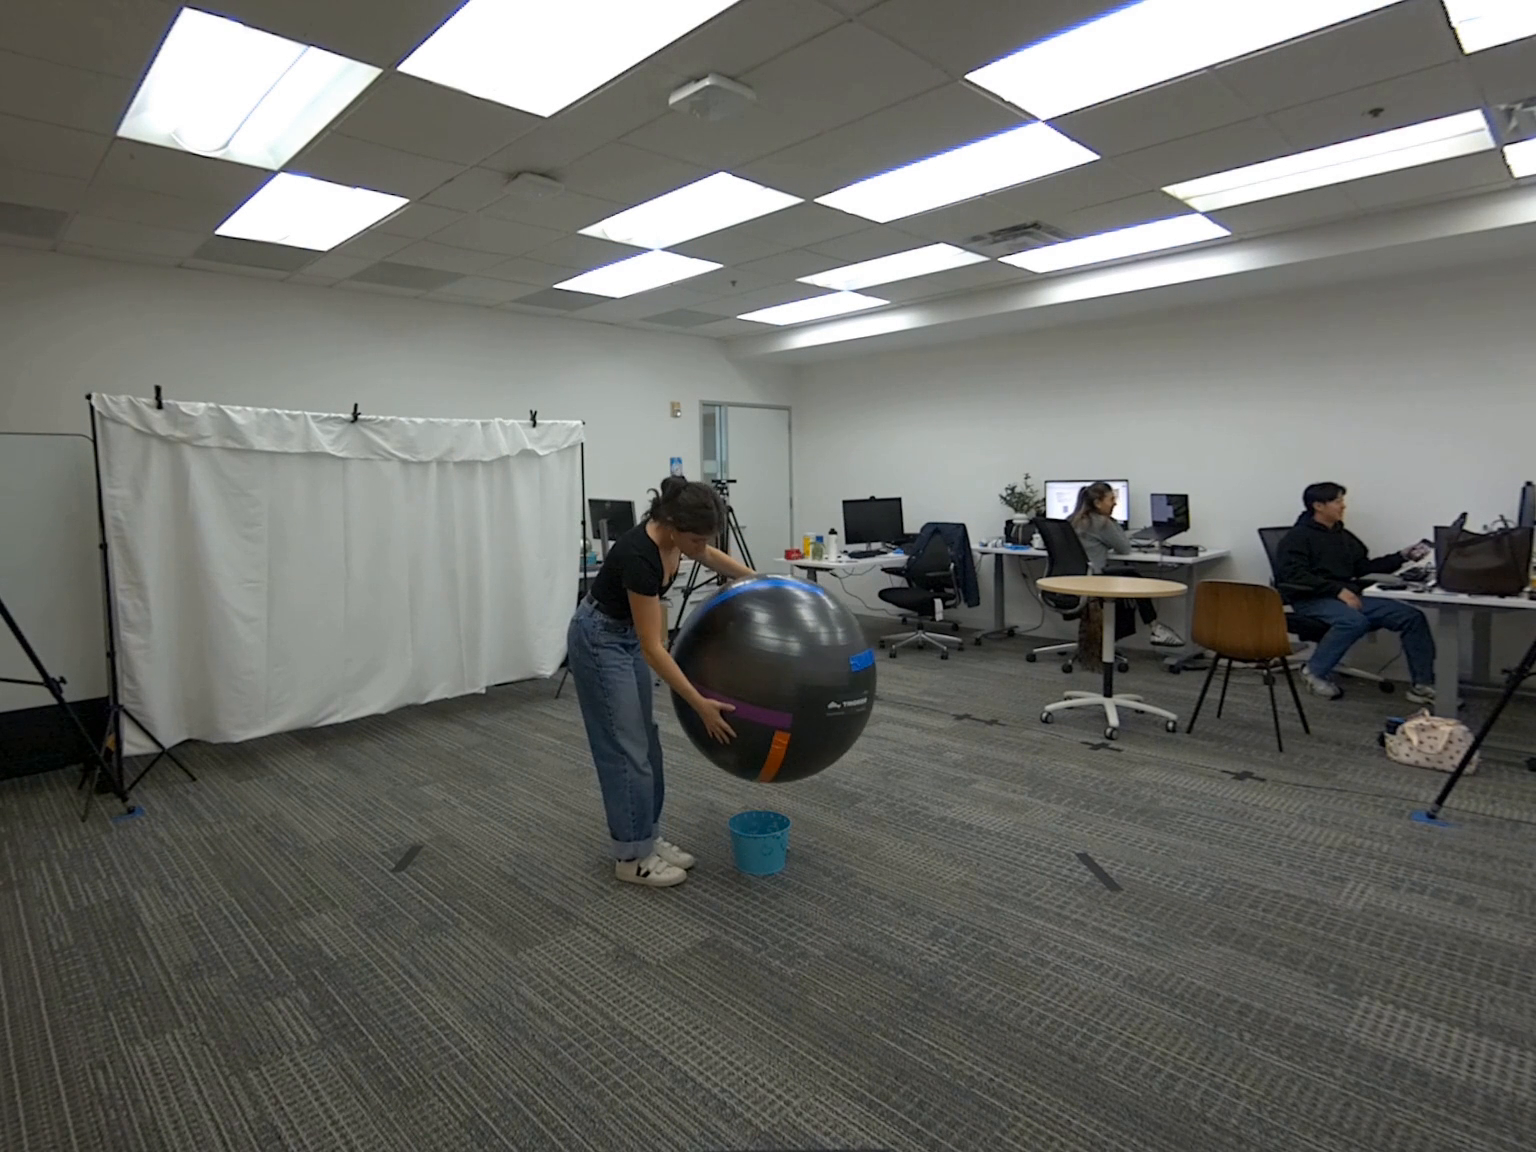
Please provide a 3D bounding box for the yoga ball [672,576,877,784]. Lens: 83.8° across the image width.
[{"bbox_3d":[0.028,0.368,3.136,0.757,0.755,0.762,-1,5,-2],"label":"yoga ball"}]
